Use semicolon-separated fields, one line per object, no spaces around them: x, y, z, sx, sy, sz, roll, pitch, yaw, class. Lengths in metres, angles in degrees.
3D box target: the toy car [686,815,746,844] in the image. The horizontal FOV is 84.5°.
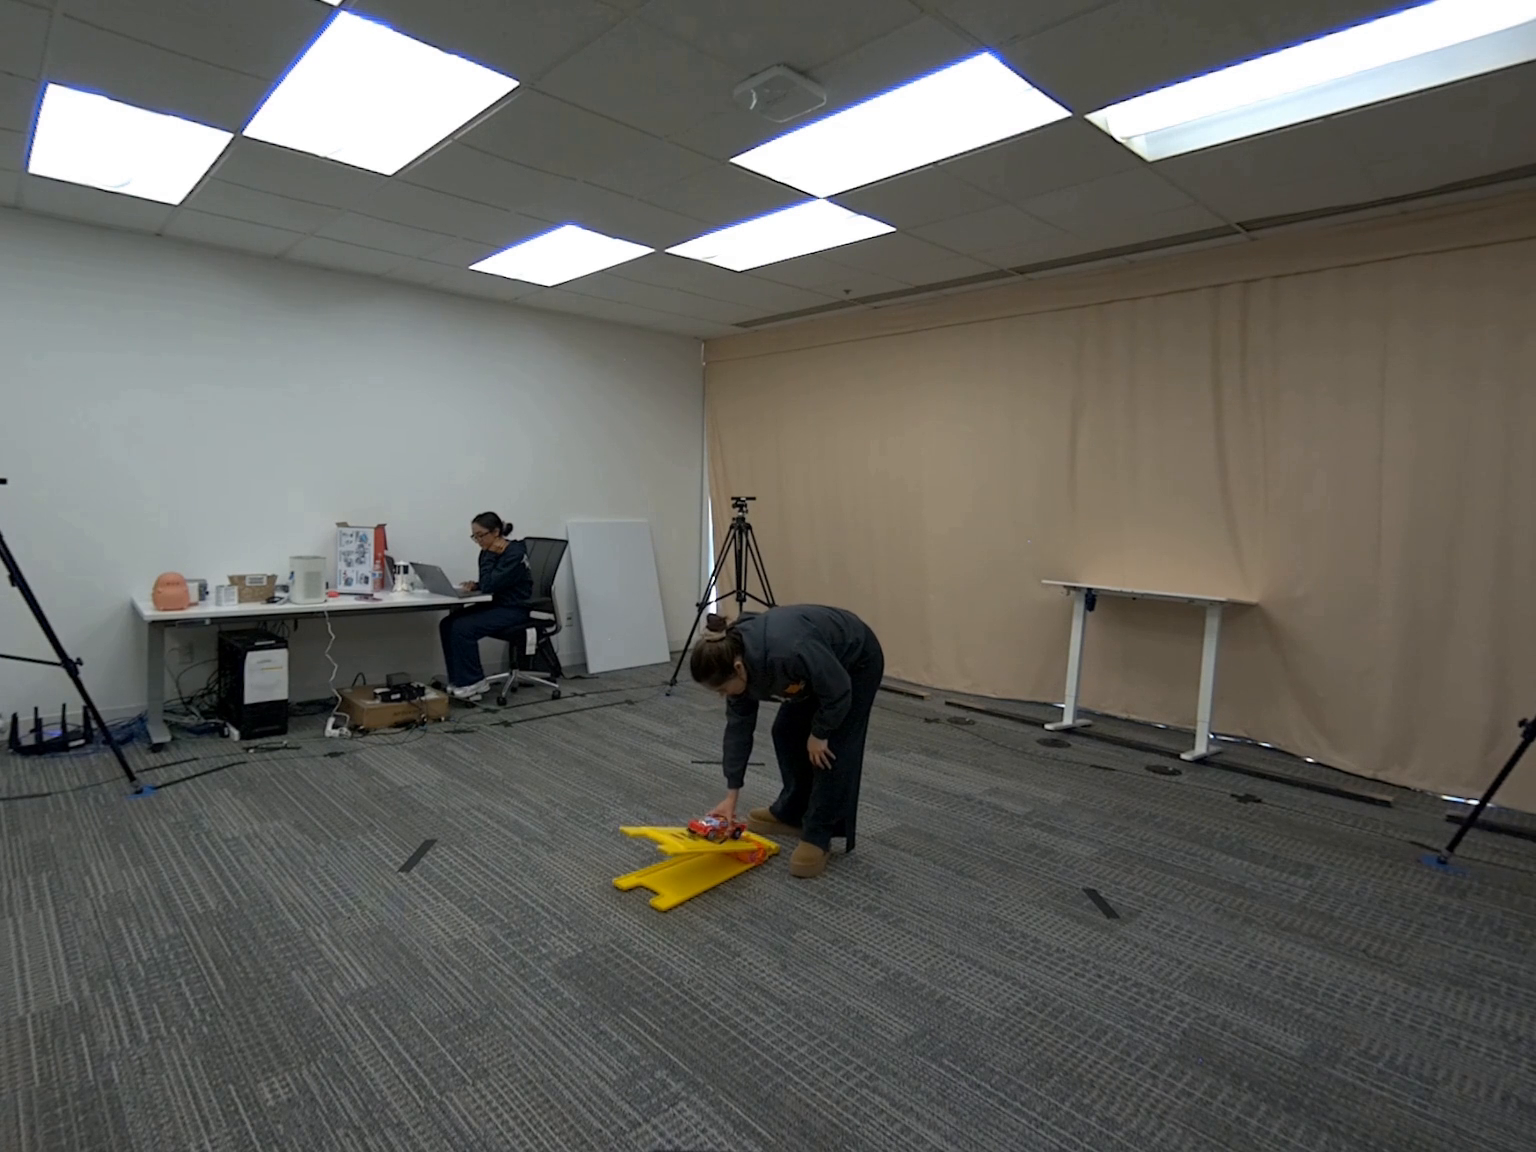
-0.195;0.958;3.194;0.133;0.083;0.248;6;2;40;toy car
